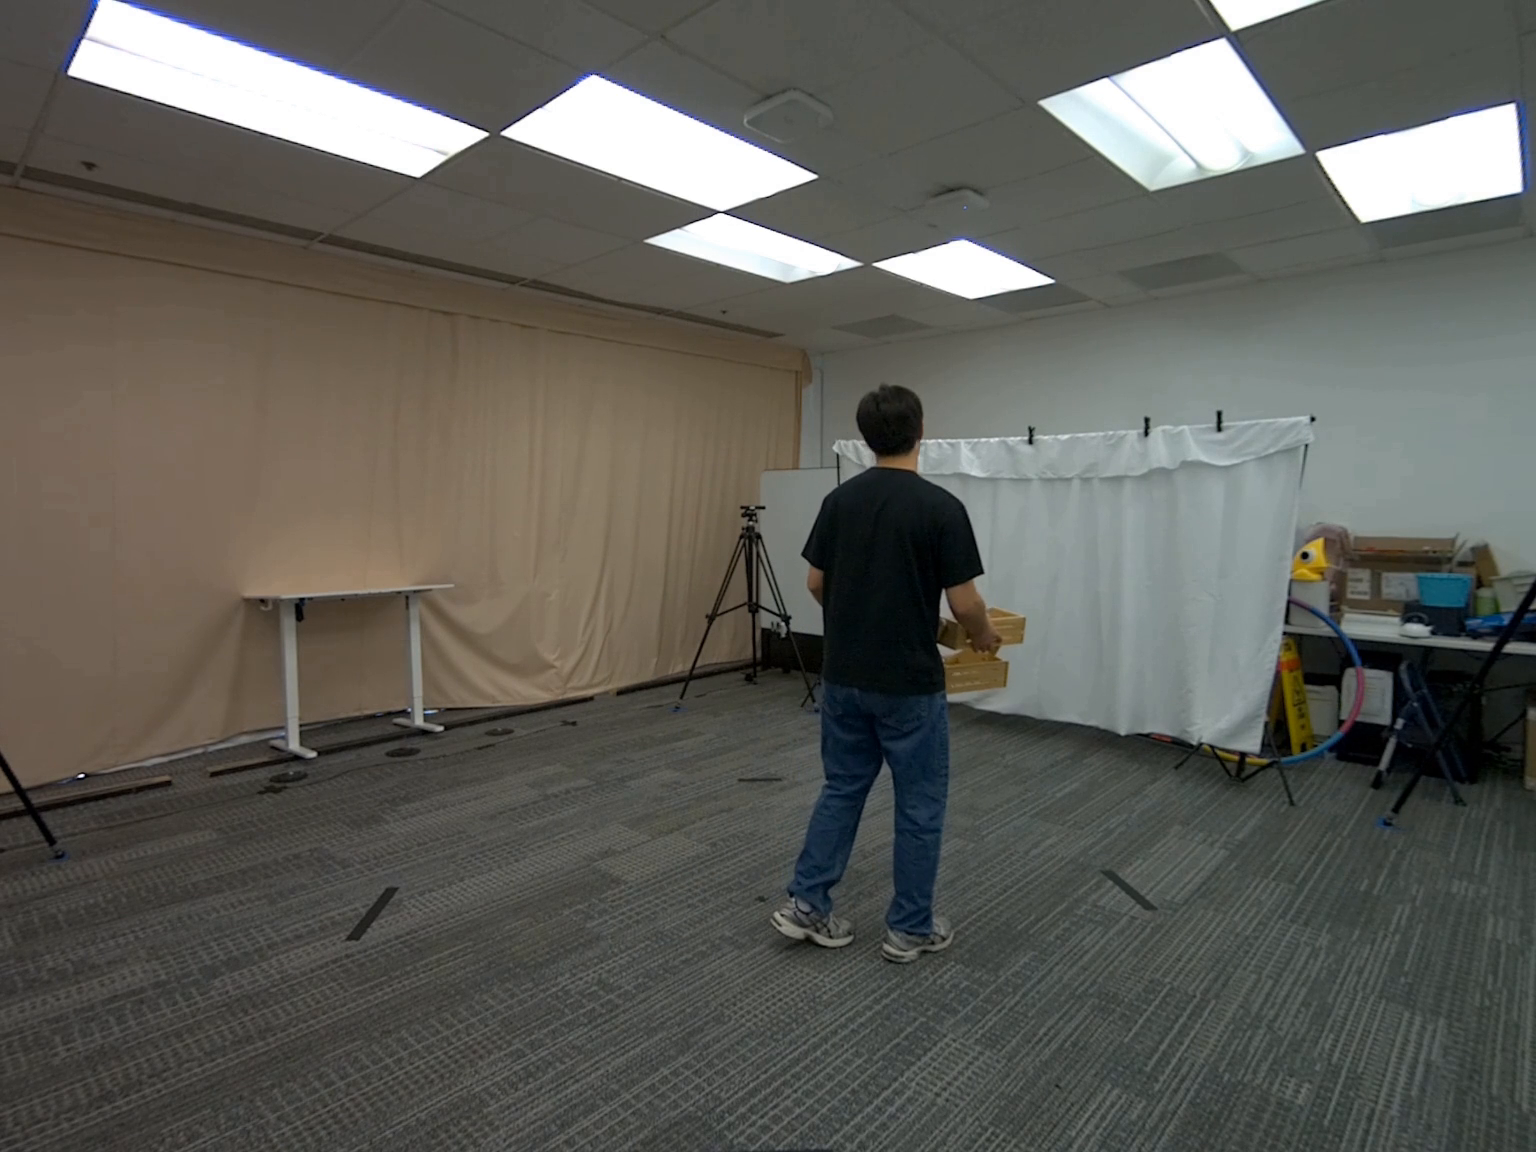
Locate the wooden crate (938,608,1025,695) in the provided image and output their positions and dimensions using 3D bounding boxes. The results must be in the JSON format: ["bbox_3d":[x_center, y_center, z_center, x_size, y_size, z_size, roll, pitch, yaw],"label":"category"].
[{"bbox_3d":[0.661,0.235,2.895,0.316,0.272,0.312,-2,12,-28],"label":"wooden crate"}]
